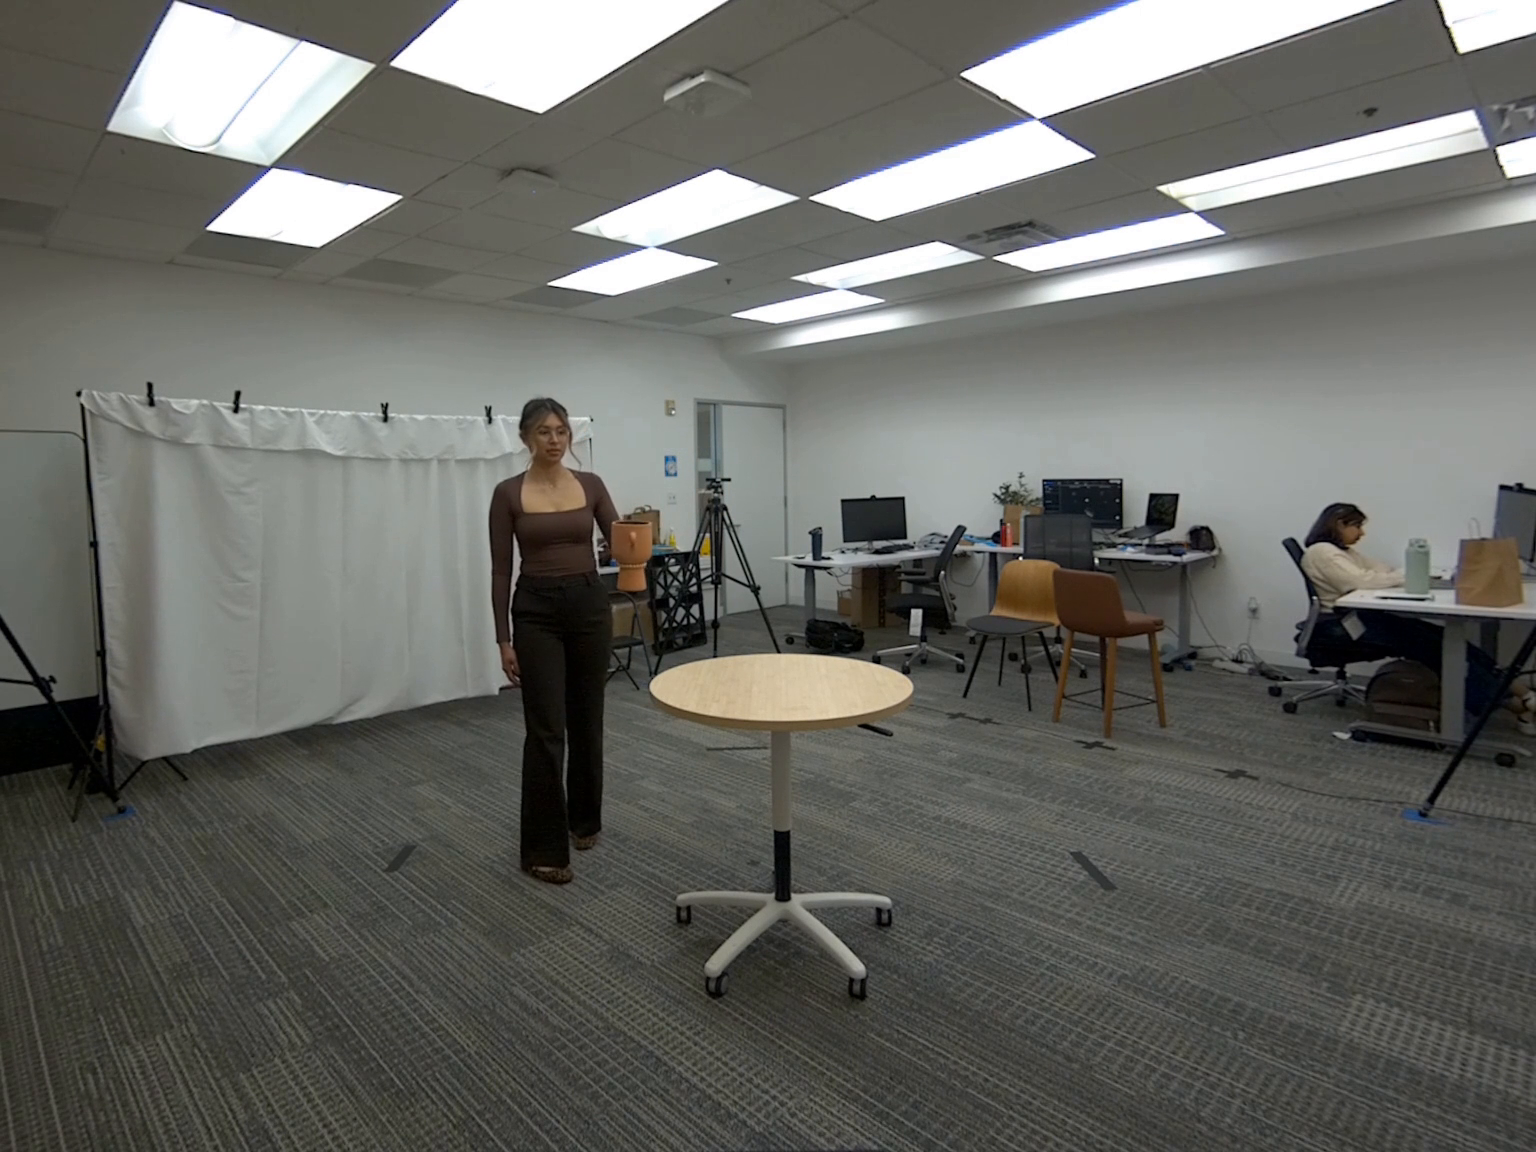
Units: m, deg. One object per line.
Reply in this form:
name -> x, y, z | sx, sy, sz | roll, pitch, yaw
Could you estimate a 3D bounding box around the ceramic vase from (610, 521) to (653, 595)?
ceramic vase -> -0.452, -0.069, 2.828 | 0.138, 0.218, 0.156 | 6, 10, 28
